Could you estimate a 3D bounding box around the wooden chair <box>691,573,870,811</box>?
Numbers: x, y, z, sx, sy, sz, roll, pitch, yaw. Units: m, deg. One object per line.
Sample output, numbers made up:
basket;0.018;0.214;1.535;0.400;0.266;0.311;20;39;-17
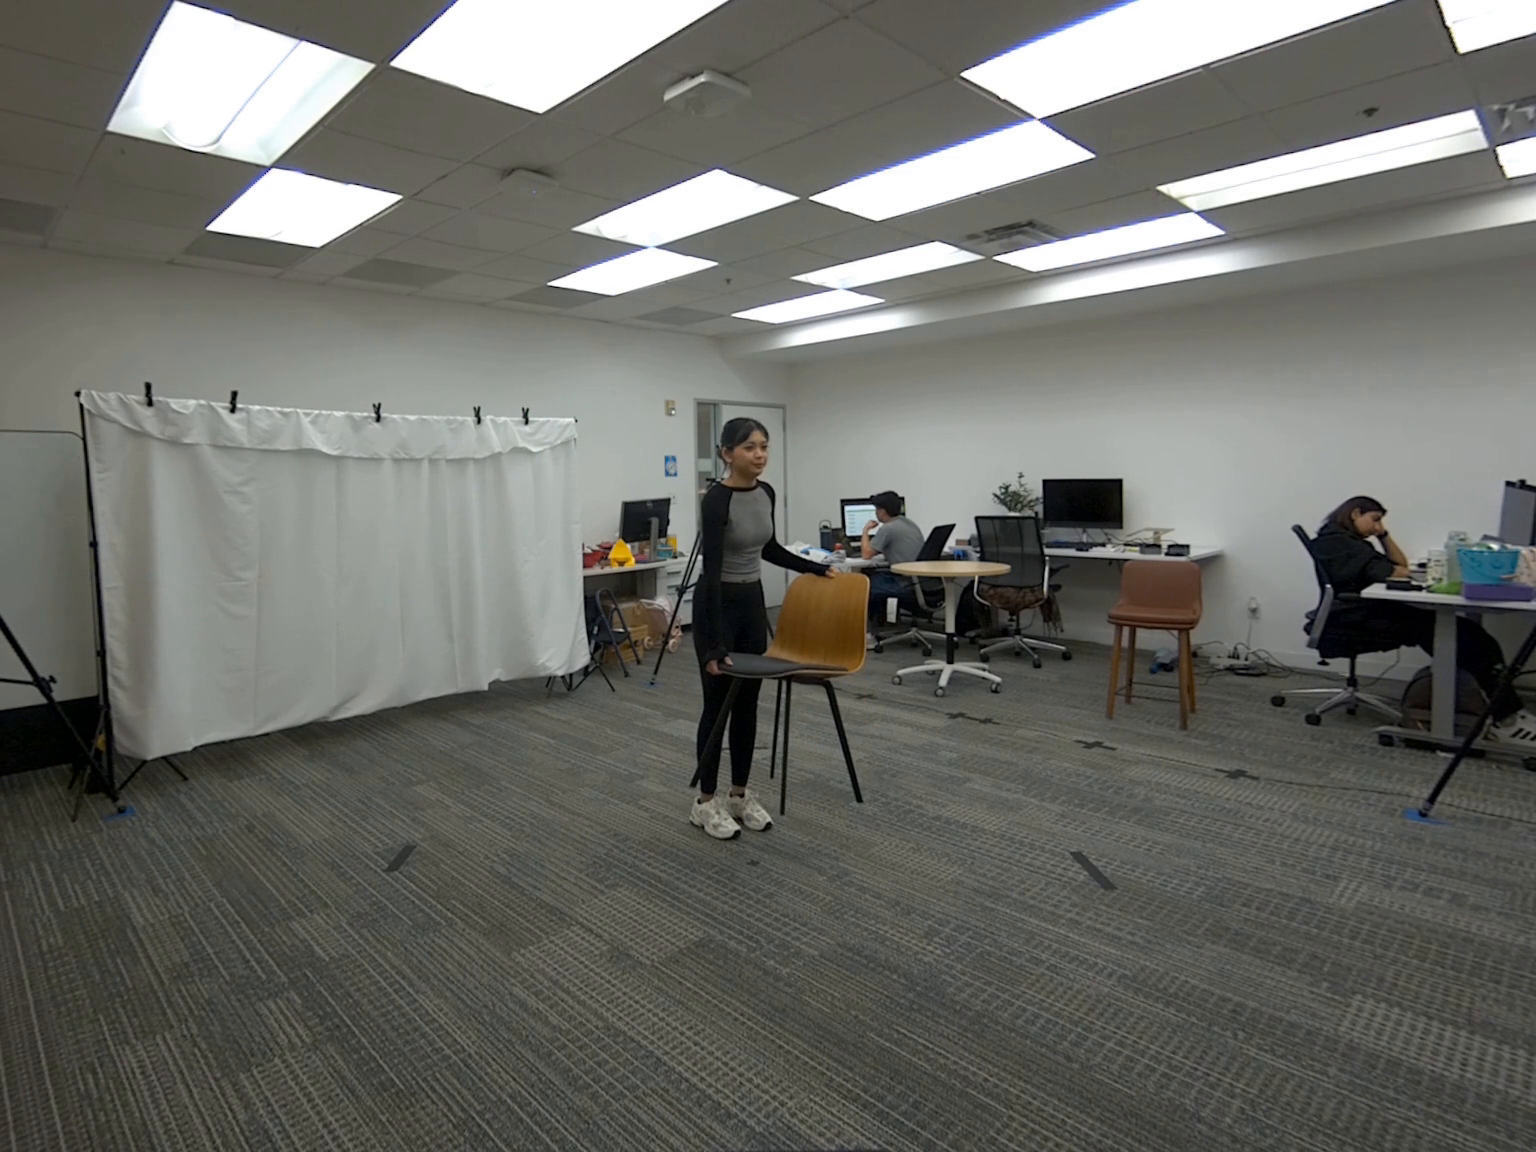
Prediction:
wooden chair;0.065;0.381;3.140;0.492;0.883;0.505;0;-10;44
